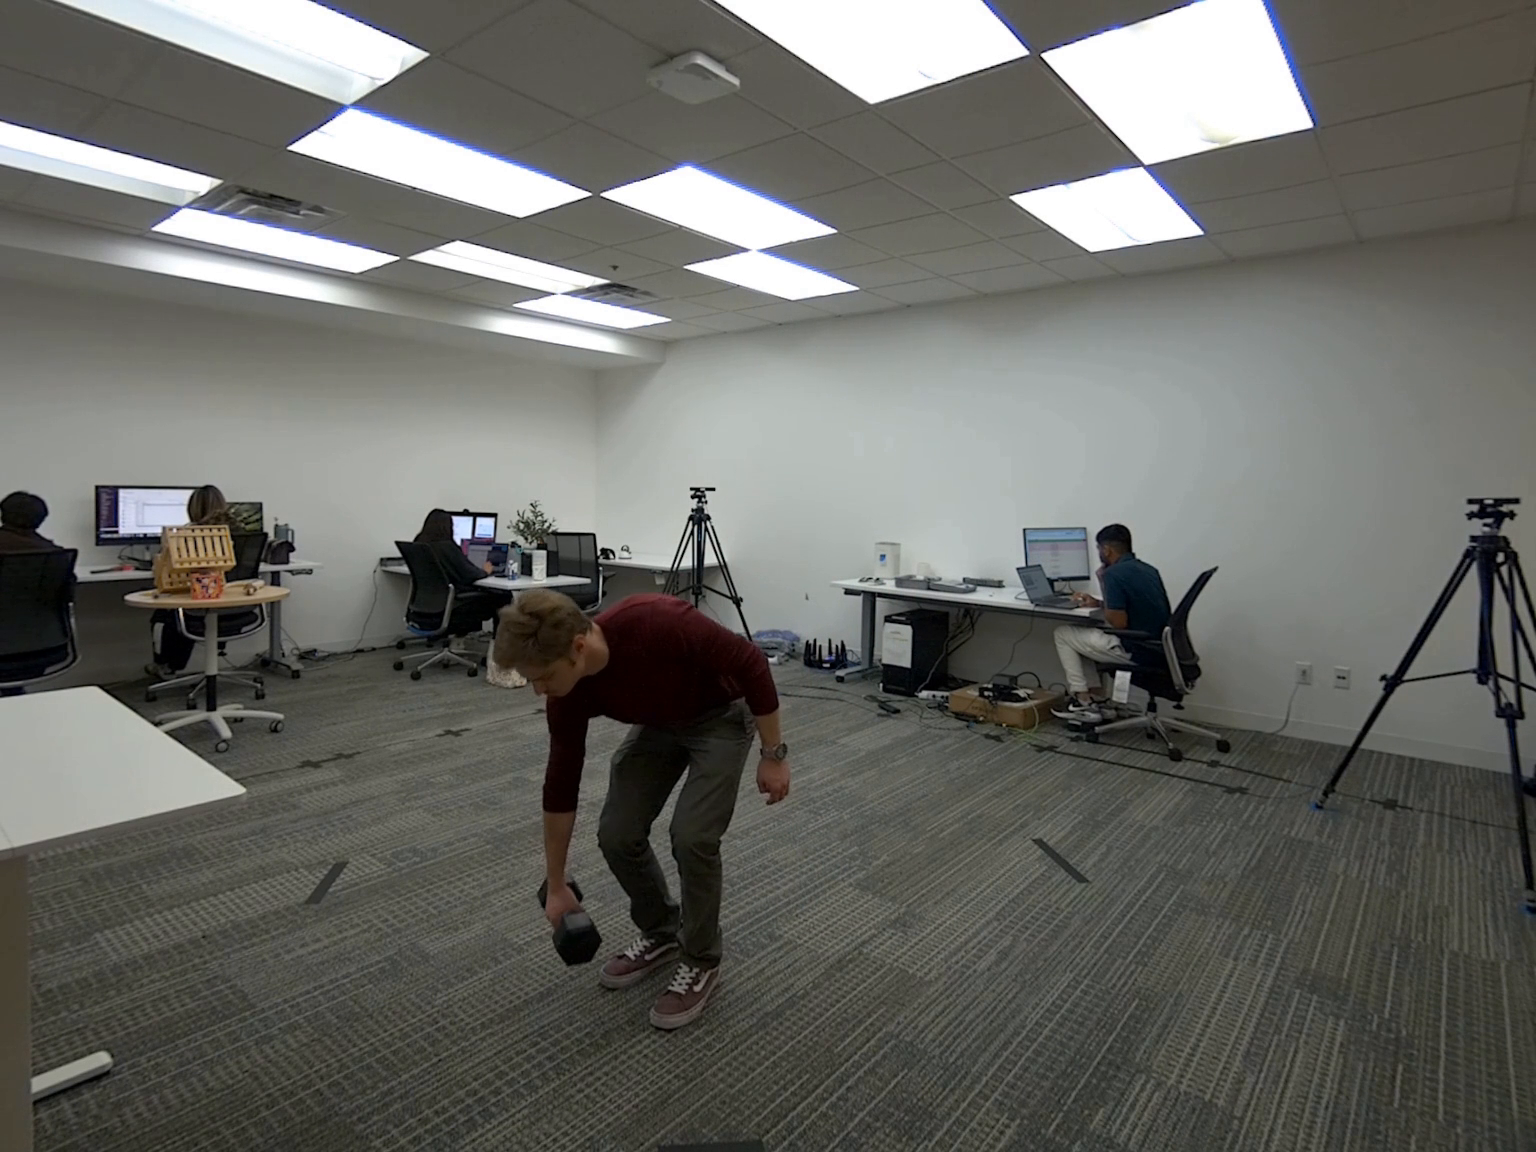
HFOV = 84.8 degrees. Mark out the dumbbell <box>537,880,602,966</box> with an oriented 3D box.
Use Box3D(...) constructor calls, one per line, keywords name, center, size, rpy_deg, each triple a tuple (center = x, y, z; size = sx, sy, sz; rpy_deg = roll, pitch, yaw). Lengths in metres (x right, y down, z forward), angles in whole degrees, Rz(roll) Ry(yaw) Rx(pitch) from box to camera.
Box3D(name="dumbbell", center=(-0.553, 0.927, 2.326), size=(0.108, 0.120, 0.303), rpy_deg=(-34, 22, -16))
